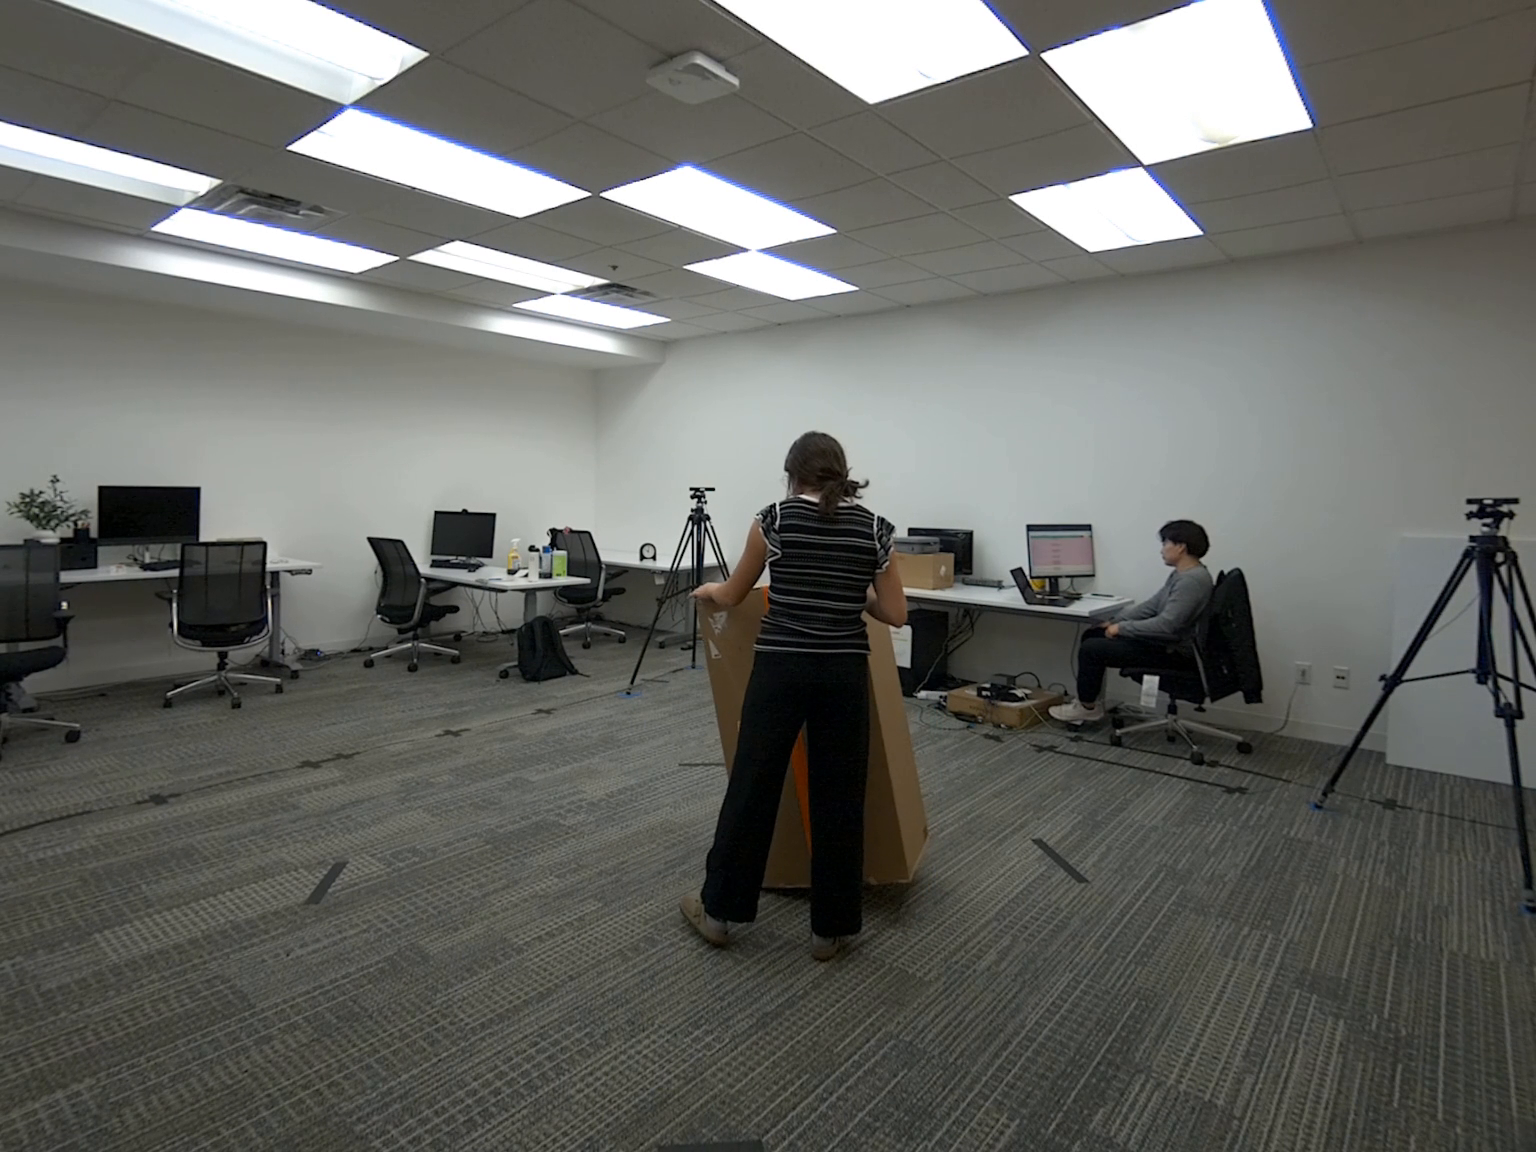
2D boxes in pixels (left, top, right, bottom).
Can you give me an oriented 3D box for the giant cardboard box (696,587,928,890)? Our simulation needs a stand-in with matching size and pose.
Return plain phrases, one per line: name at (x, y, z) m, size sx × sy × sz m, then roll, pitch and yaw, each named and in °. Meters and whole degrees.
giant cardboard box at (0.159, 0.521, 3.059) m, size 0.588 × 1.030 × 0.417 m, roll -12°, pitch -3°, yaw 22°
